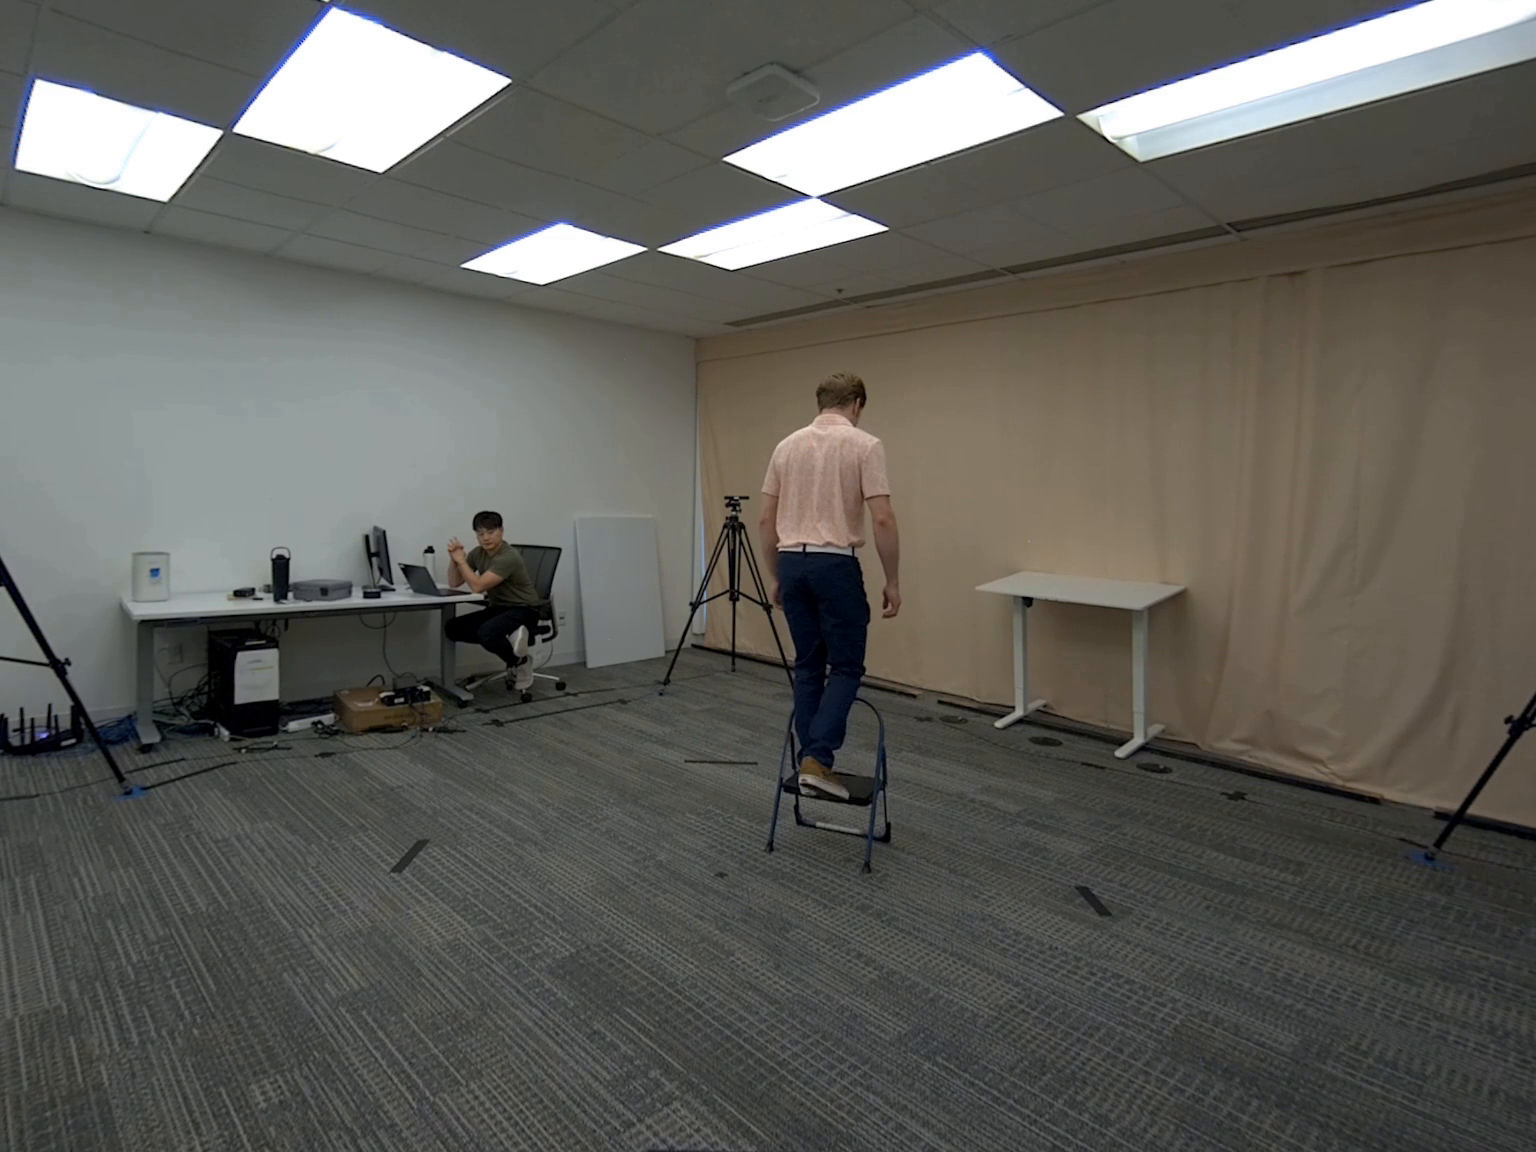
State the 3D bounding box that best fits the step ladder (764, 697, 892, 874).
[{"bbox_3d":[0.254,0.788,3.380,0.439,0.605,0.343,3,3,24],"label":"step ladder"}]
